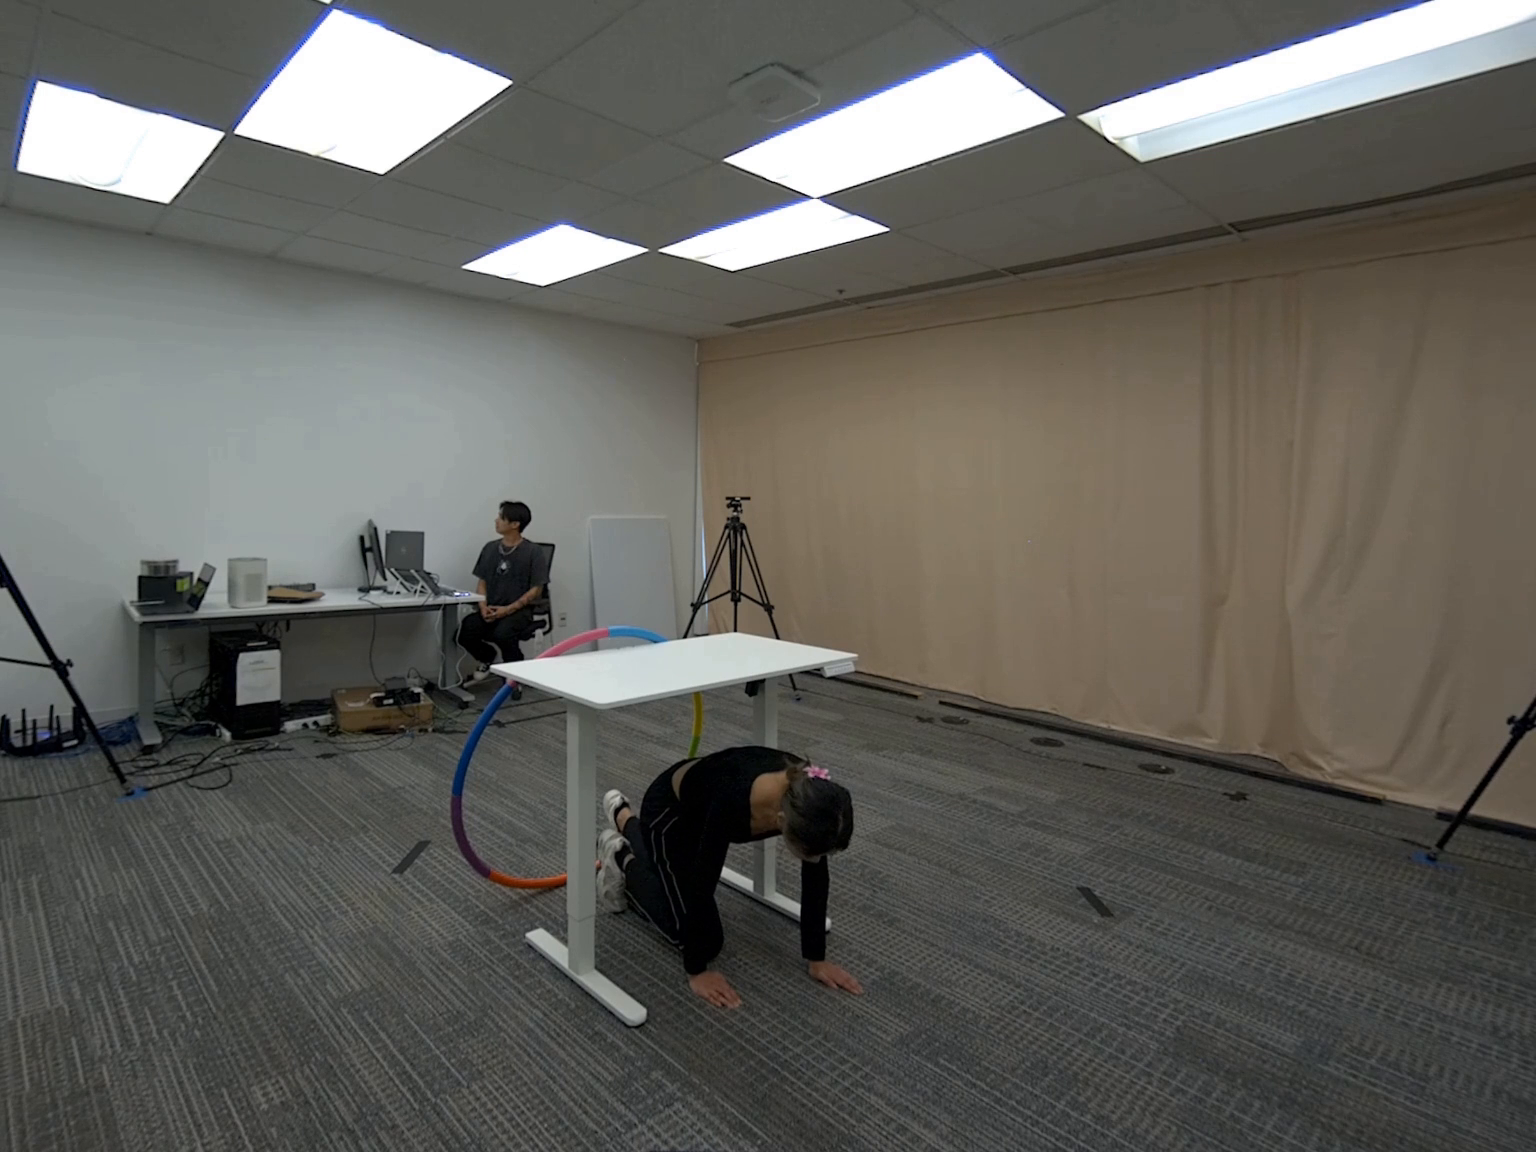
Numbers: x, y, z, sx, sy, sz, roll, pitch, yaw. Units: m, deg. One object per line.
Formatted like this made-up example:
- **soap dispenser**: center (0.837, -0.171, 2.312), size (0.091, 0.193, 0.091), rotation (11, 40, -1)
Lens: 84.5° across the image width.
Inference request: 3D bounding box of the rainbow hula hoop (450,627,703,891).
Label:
- **rainbow hula hoop**: center (-0.625, 0.642, 2.911), size (0.956, 0.971, 0.036), rotation (-3, 20, -44)
